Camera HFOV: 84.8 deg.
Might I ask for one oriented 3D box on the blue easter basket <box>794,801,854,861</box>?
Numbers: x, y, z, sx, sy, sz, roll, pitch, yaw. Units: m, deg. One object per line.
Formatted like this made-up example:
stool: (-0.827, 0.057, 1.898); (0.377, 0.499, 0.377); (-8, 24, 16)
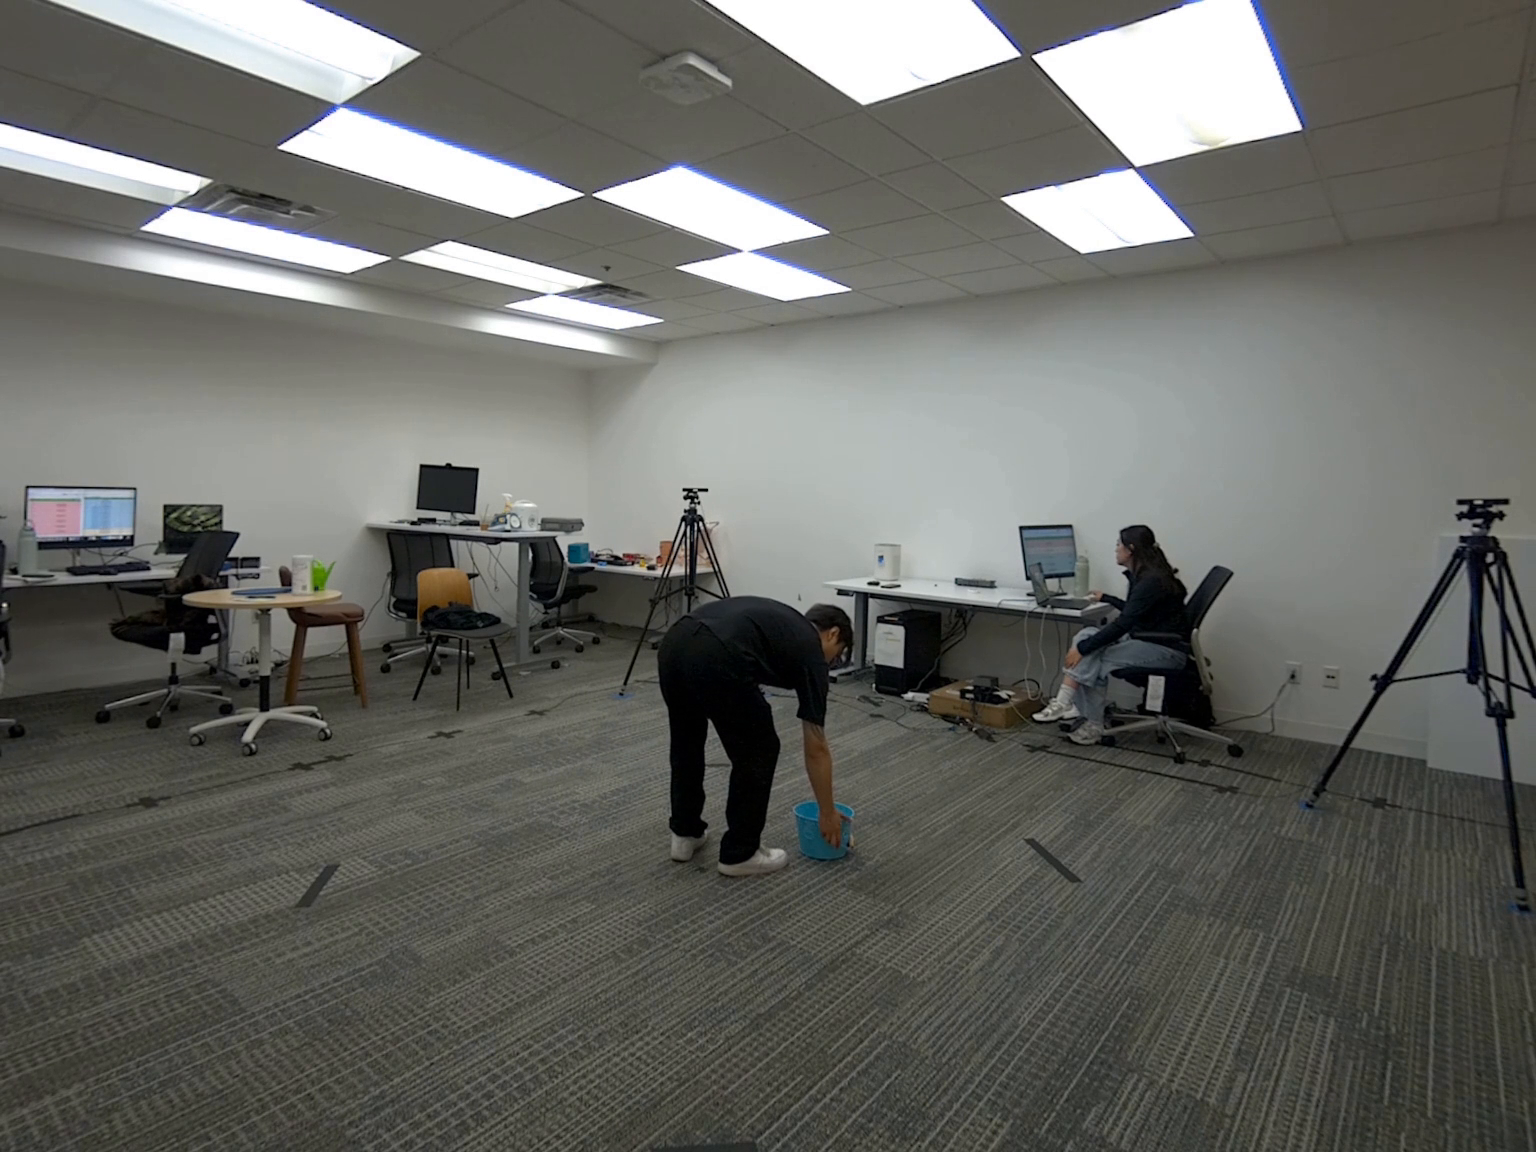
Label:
blue easter basket: (0.214, 0.984, 3.288); (0.243, 0.155, 0.244); (0, 3, -2)
